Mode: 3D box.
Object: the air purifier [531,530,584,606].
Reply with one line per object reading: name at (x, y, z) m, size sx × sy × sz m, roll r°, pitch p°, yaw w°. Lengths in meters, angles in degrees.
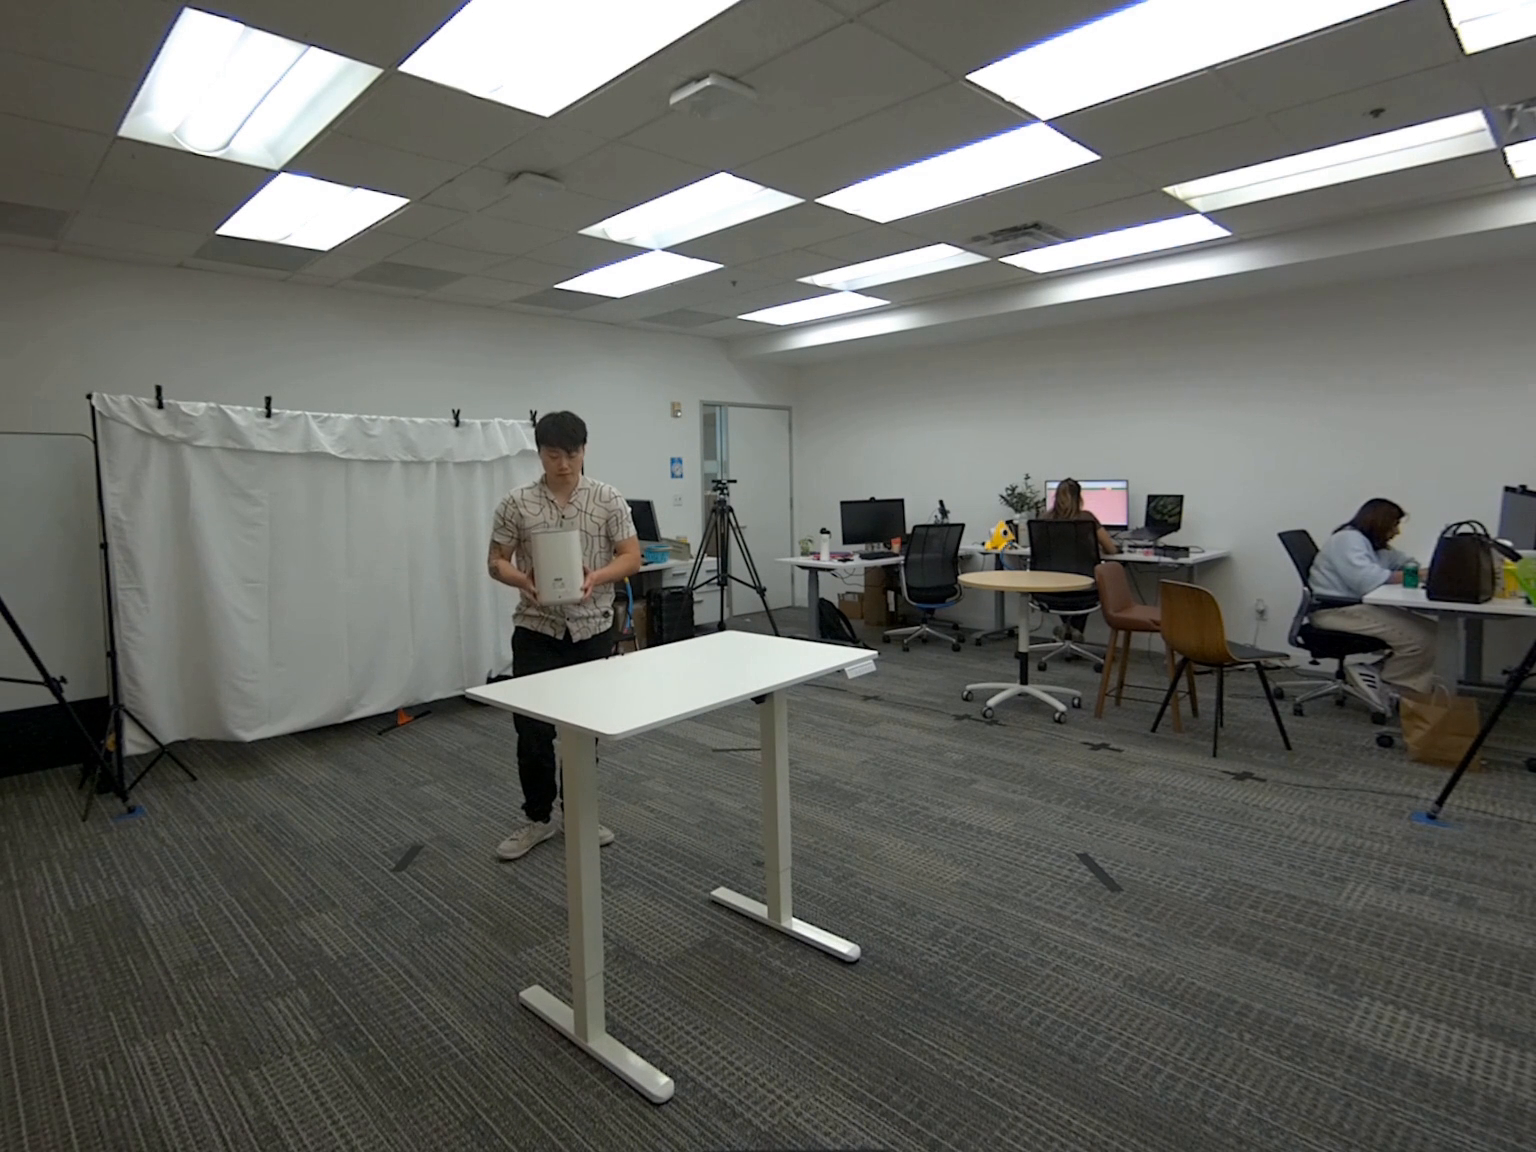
air purifier at (-0.762, -0.033, 3.042) m, size 0.169 × 0.264 × 0.174 m, roll -5°, pitch 5°, yaw -11°
